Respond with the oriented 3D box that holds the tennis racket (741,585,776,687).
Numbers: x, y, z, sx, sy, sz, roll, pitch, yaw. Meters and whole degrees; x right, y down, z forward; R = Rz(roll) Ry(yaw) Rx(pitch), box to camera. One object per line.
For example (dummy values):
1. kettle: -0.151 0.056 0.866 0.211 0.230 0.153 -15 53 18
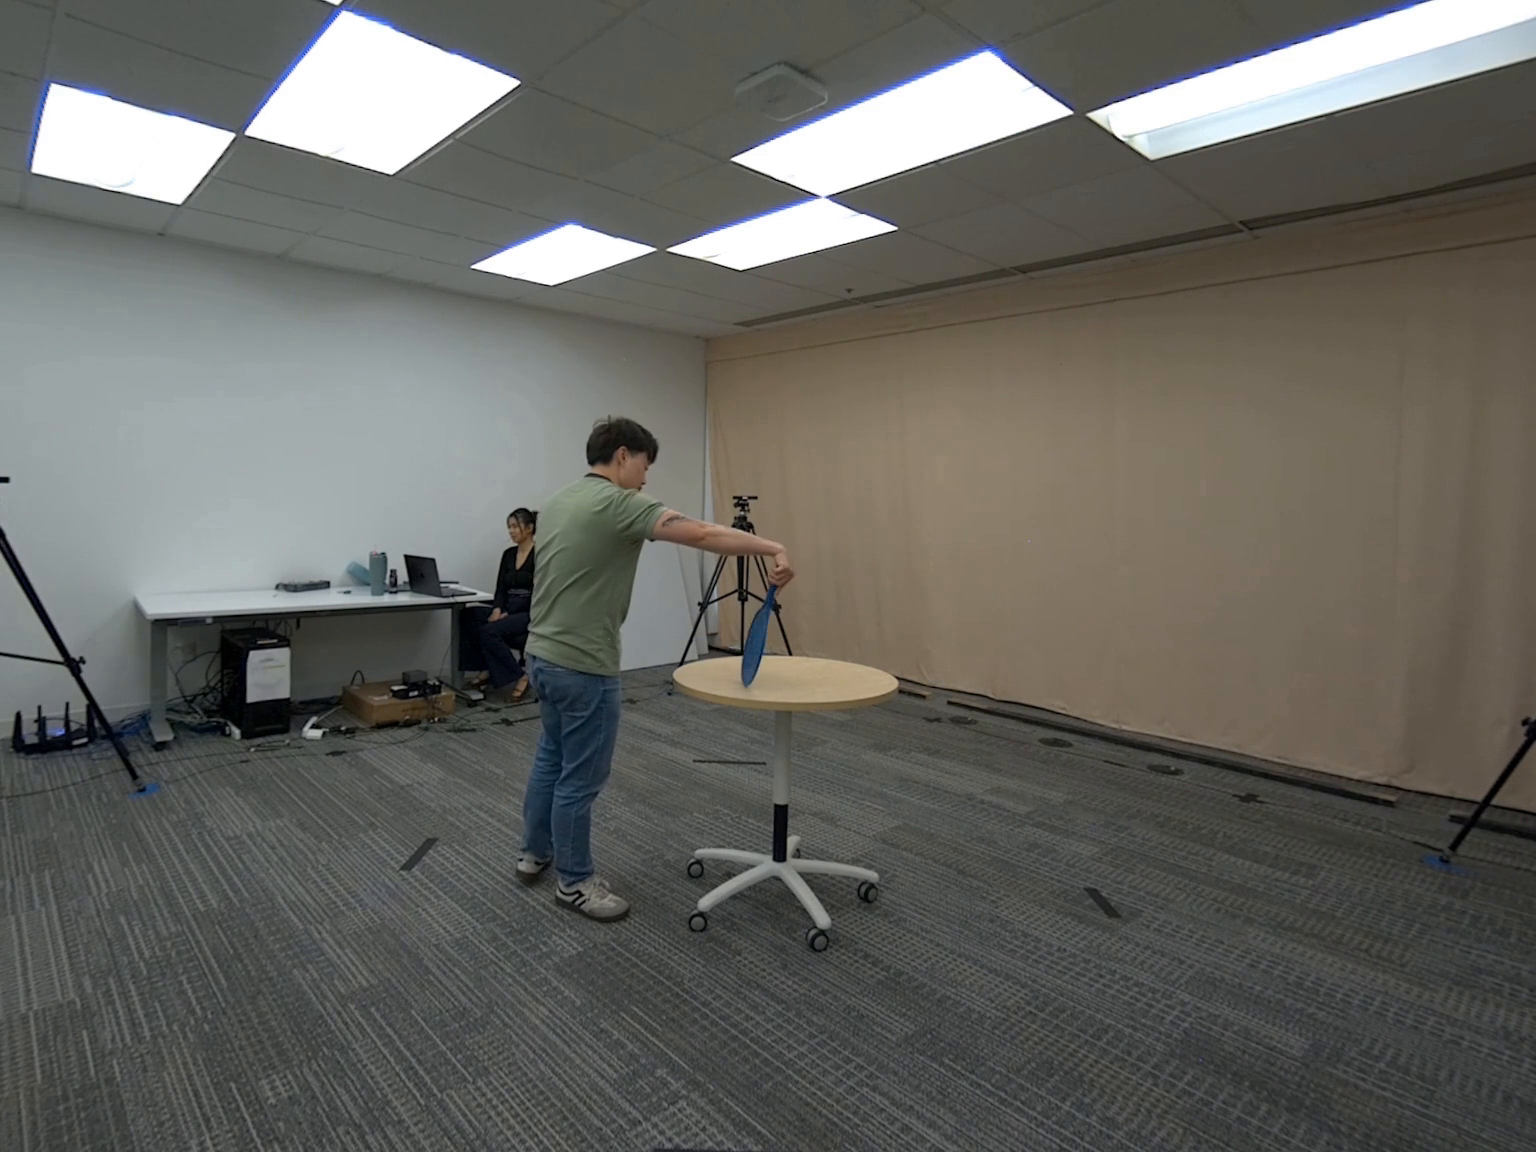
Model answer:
1. tennis racket: -0.029 0.166 2.663 0.031 0.428 0.219 9 33 -16
